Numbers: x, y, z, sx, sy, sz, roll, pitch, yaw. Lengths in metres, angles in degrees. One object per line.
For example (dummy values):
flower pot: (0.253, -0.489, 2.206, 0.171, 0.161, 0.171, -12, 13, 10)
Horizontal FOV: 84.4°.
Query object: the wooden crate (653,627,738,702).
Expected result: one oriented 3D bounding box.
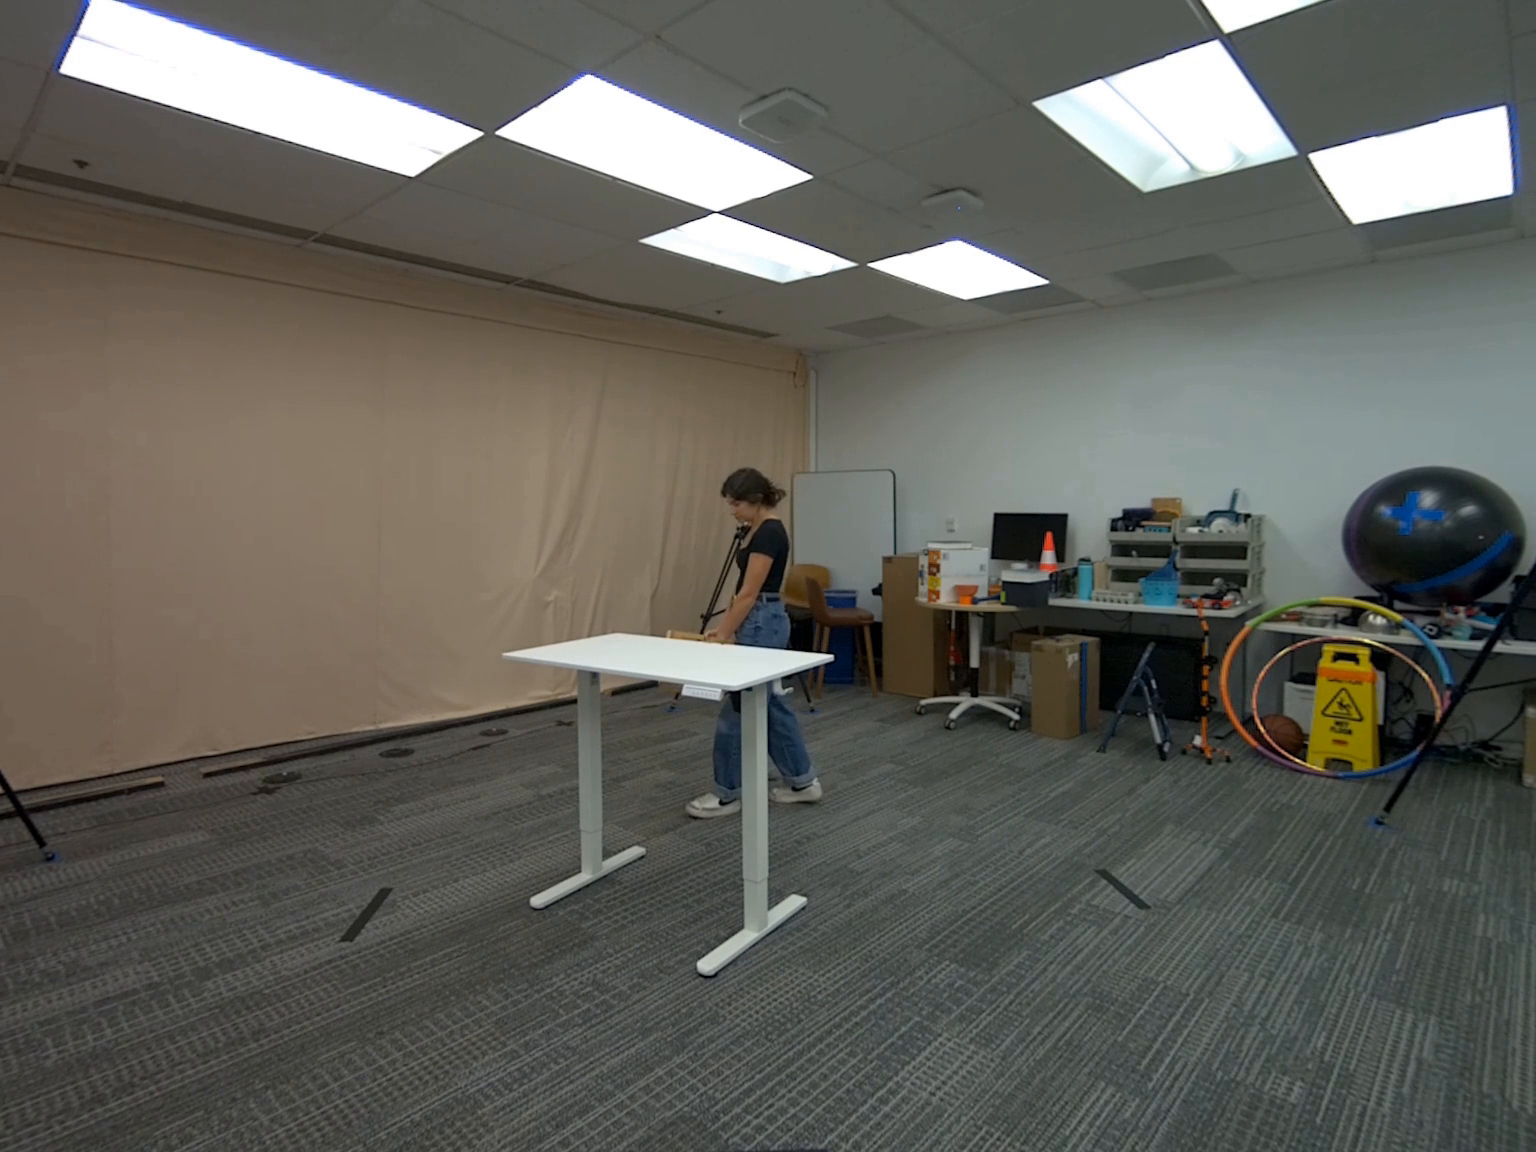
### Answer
wooden crate: (-0.319, 0.394, 3.794, 0.325, 0.274, 0.301, 9, -7, 0)
